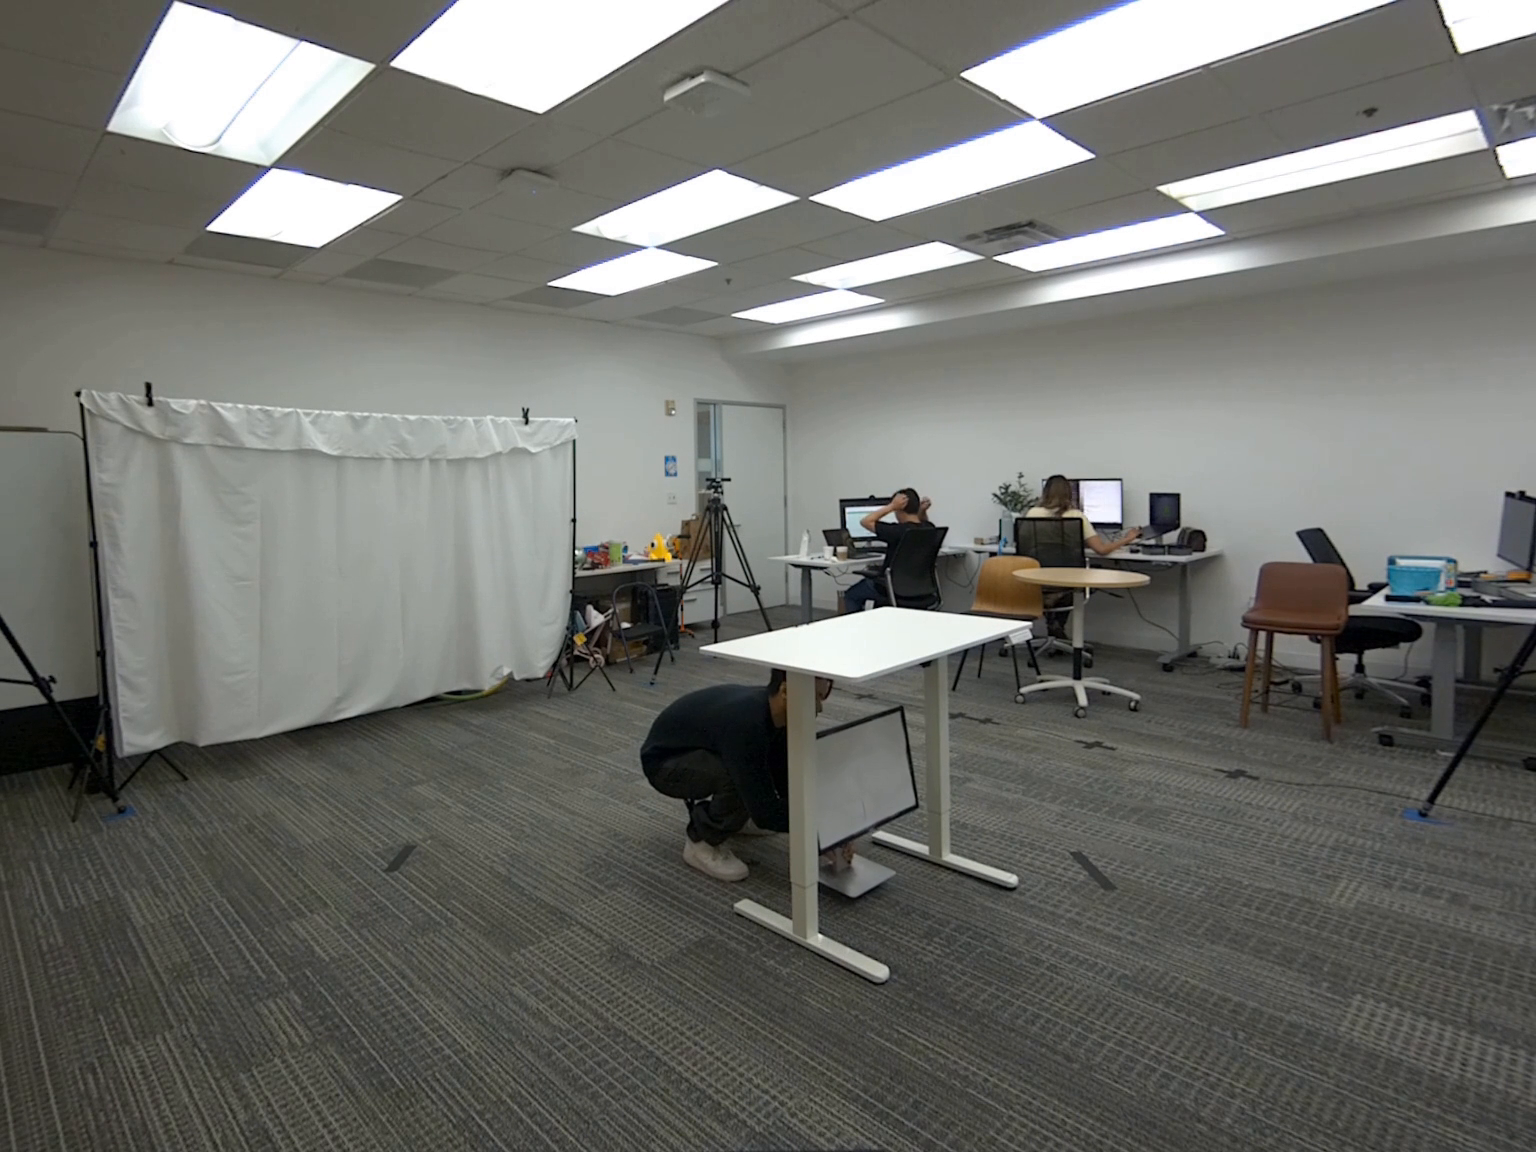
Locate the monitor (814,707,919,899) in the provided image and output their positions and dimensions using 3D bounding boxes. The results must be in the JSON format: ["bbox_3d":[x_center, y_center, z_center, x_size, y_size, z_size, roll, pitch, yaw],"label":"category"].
[{"bbox_3d":[0.285,0.744,2.894,0.516,0.512,0.181,-4,13,-43],"label":"monitor"}]
